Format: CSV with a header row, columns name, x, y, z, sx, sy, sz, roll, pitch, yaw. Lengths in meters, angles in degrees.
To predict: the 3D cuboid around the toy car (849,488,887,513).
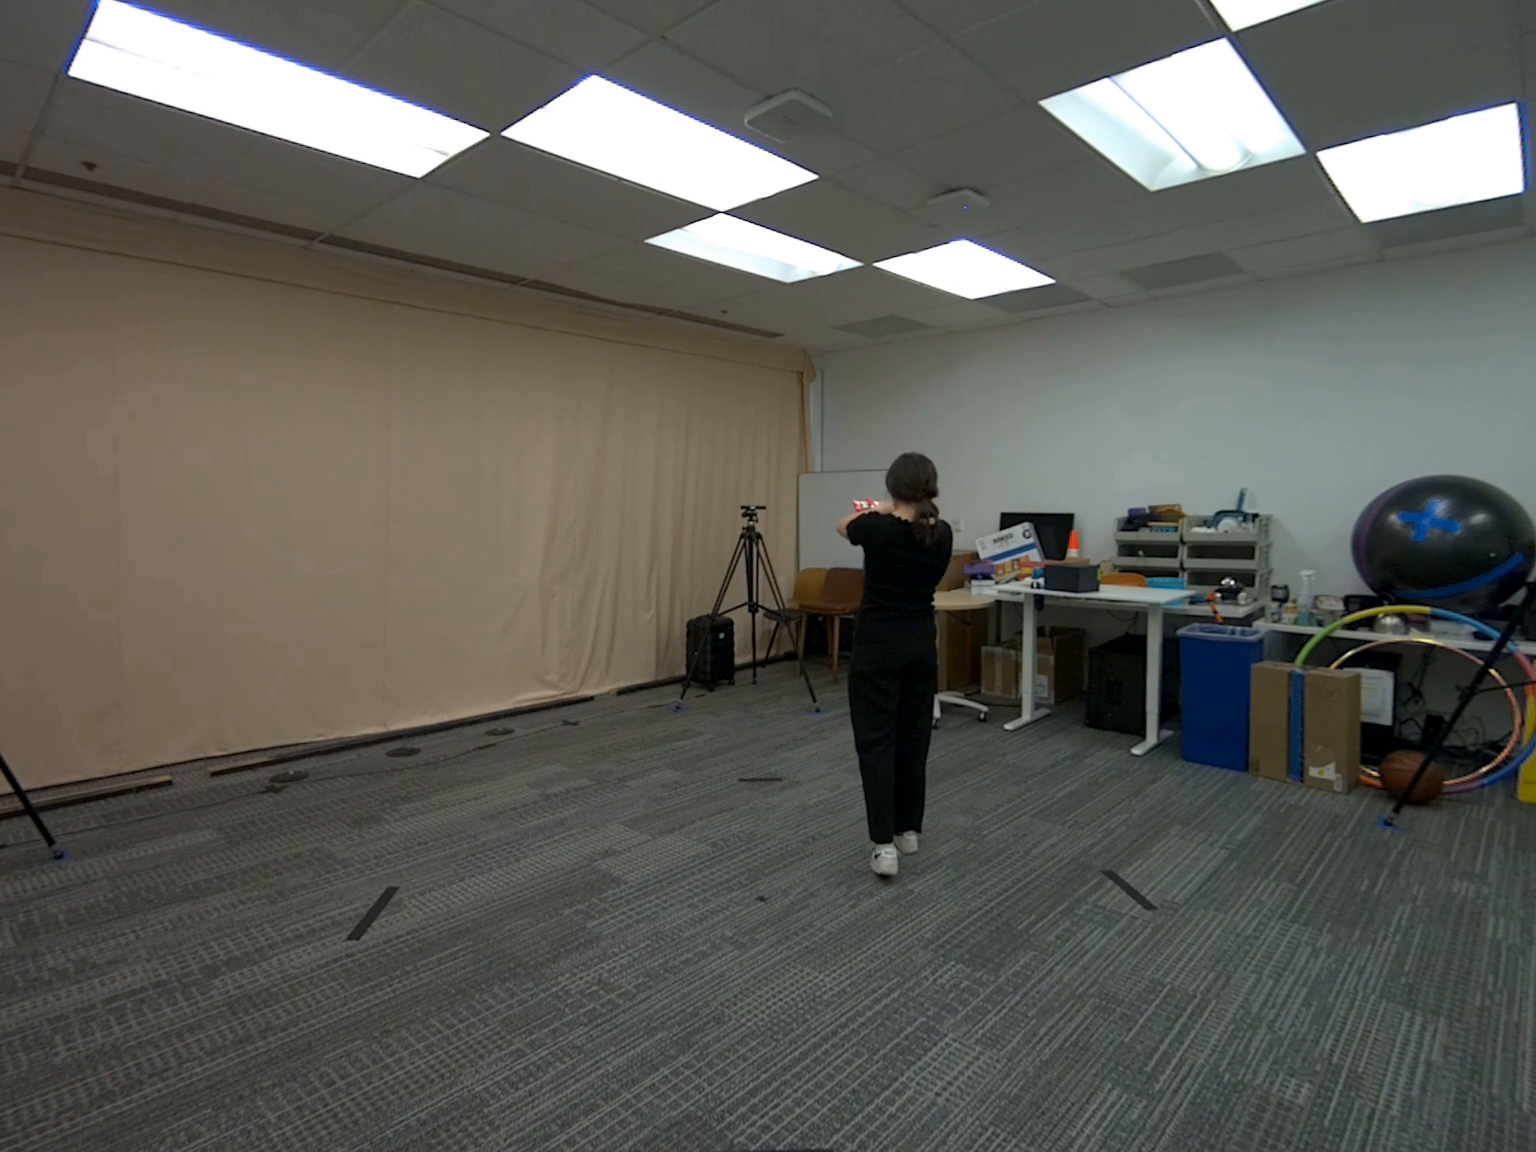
name,x,y,z,sx,sy,sz,roll,pitch,yaw
toy car,0.507,-0.288,3.785,0.248,0.083,0.133,18,30,-22
